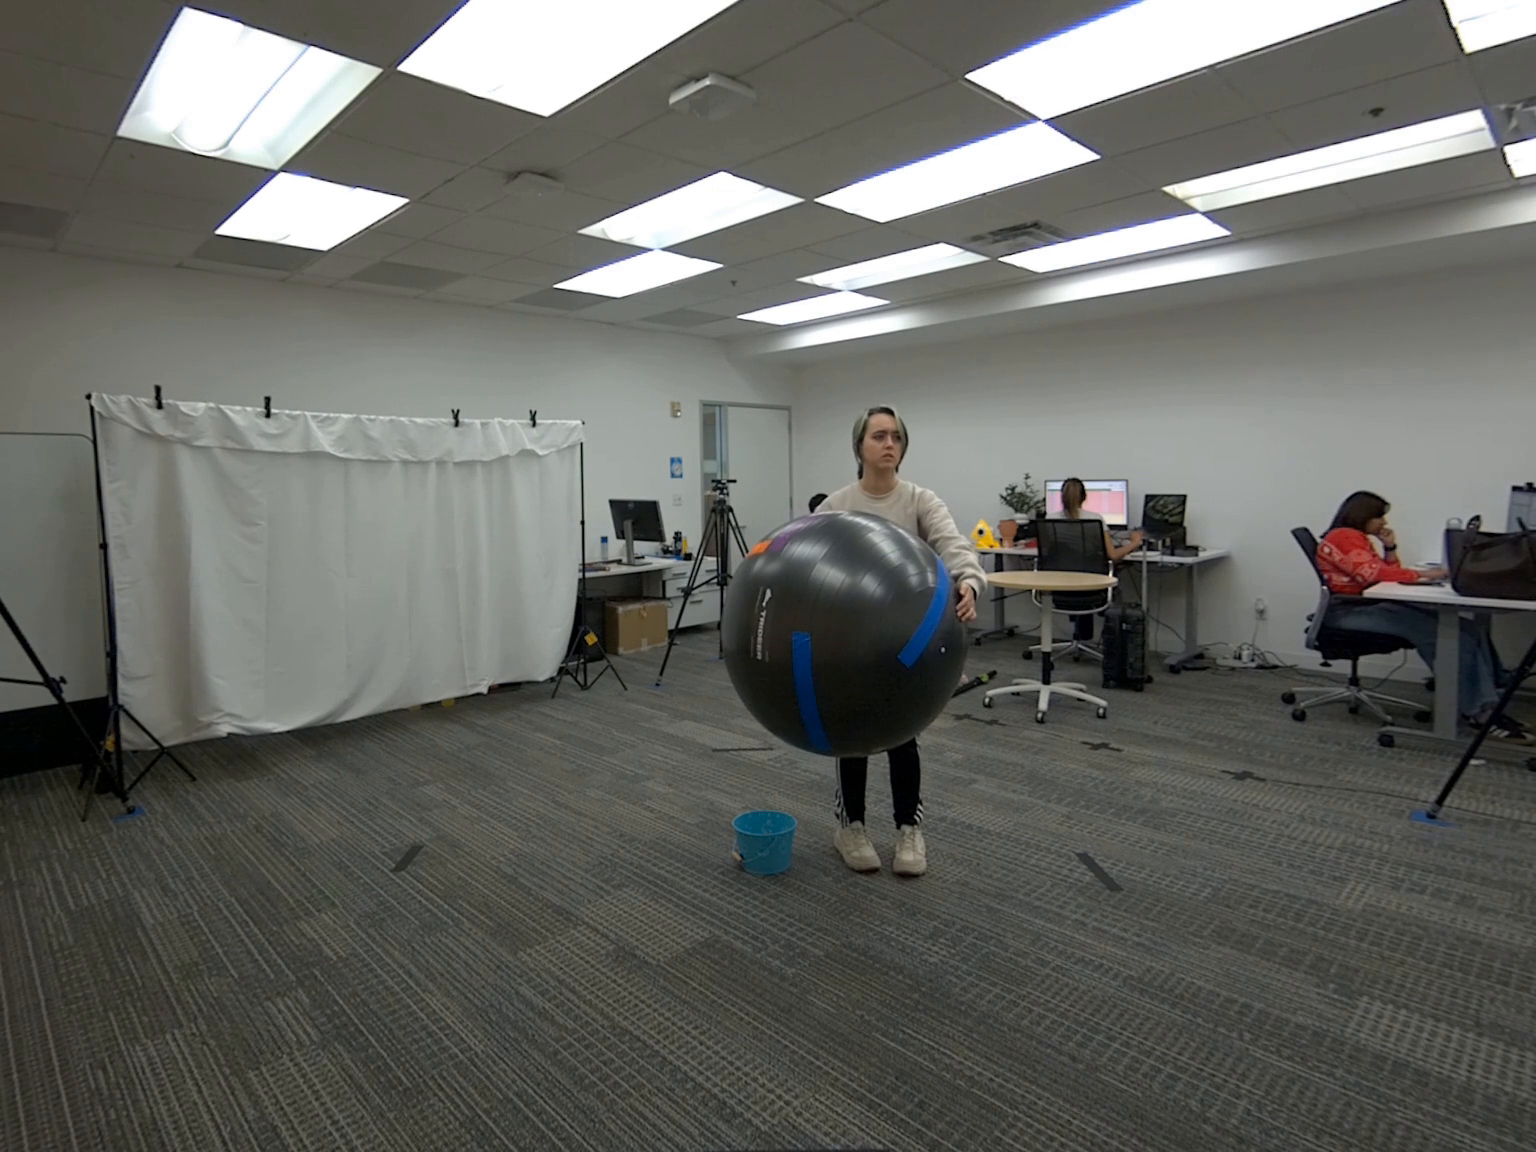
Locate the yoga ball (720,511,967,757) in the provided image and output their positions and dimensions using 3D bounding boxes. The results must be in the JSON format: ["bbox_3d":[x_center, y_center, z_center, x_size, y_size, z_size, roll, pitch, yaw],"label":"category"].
[{"bbox_3d":[0.230,0.185,2.647,0.757,0.755,0.762,-1,5,-2],"label":"yoga ball"}]
